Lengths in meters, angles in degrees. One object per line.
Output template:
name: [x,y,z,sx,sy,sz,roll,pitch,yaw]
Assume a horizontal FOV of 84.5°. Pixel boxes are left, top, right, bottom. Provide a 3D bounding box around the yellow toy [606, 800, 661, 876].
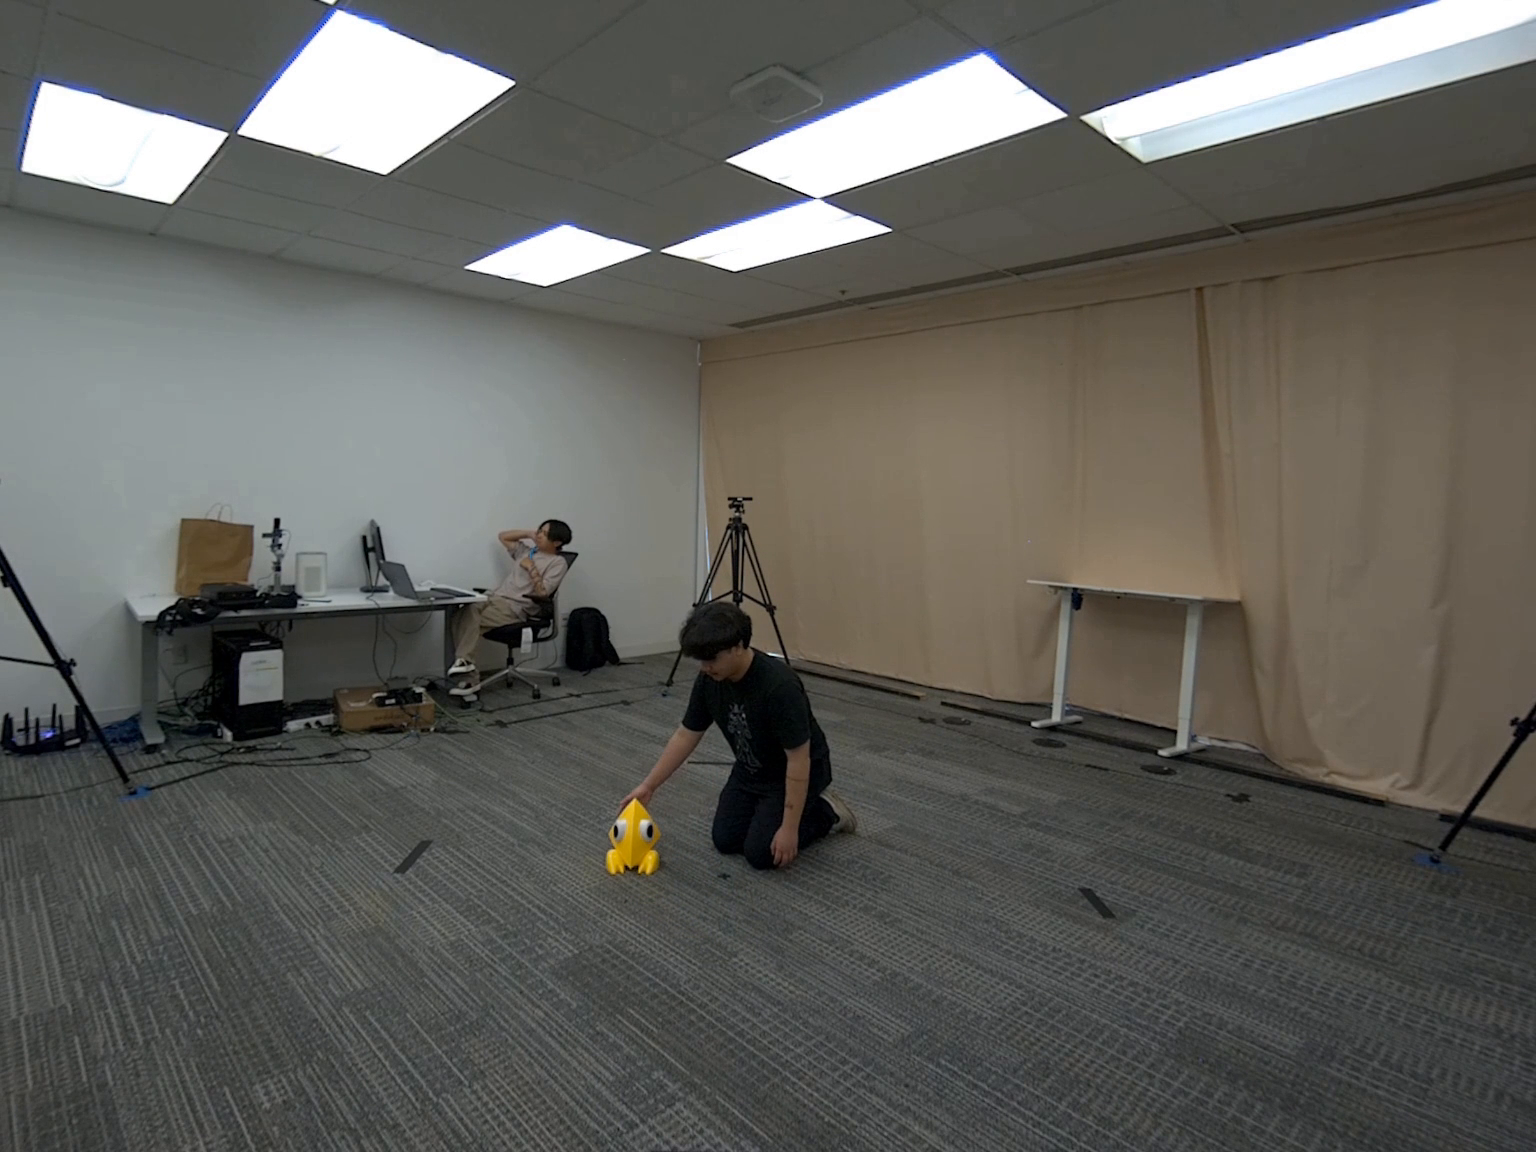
yellow toy: [-0.522,0.976,3.184,0.204,0.230,0.194,3,3,-2]
